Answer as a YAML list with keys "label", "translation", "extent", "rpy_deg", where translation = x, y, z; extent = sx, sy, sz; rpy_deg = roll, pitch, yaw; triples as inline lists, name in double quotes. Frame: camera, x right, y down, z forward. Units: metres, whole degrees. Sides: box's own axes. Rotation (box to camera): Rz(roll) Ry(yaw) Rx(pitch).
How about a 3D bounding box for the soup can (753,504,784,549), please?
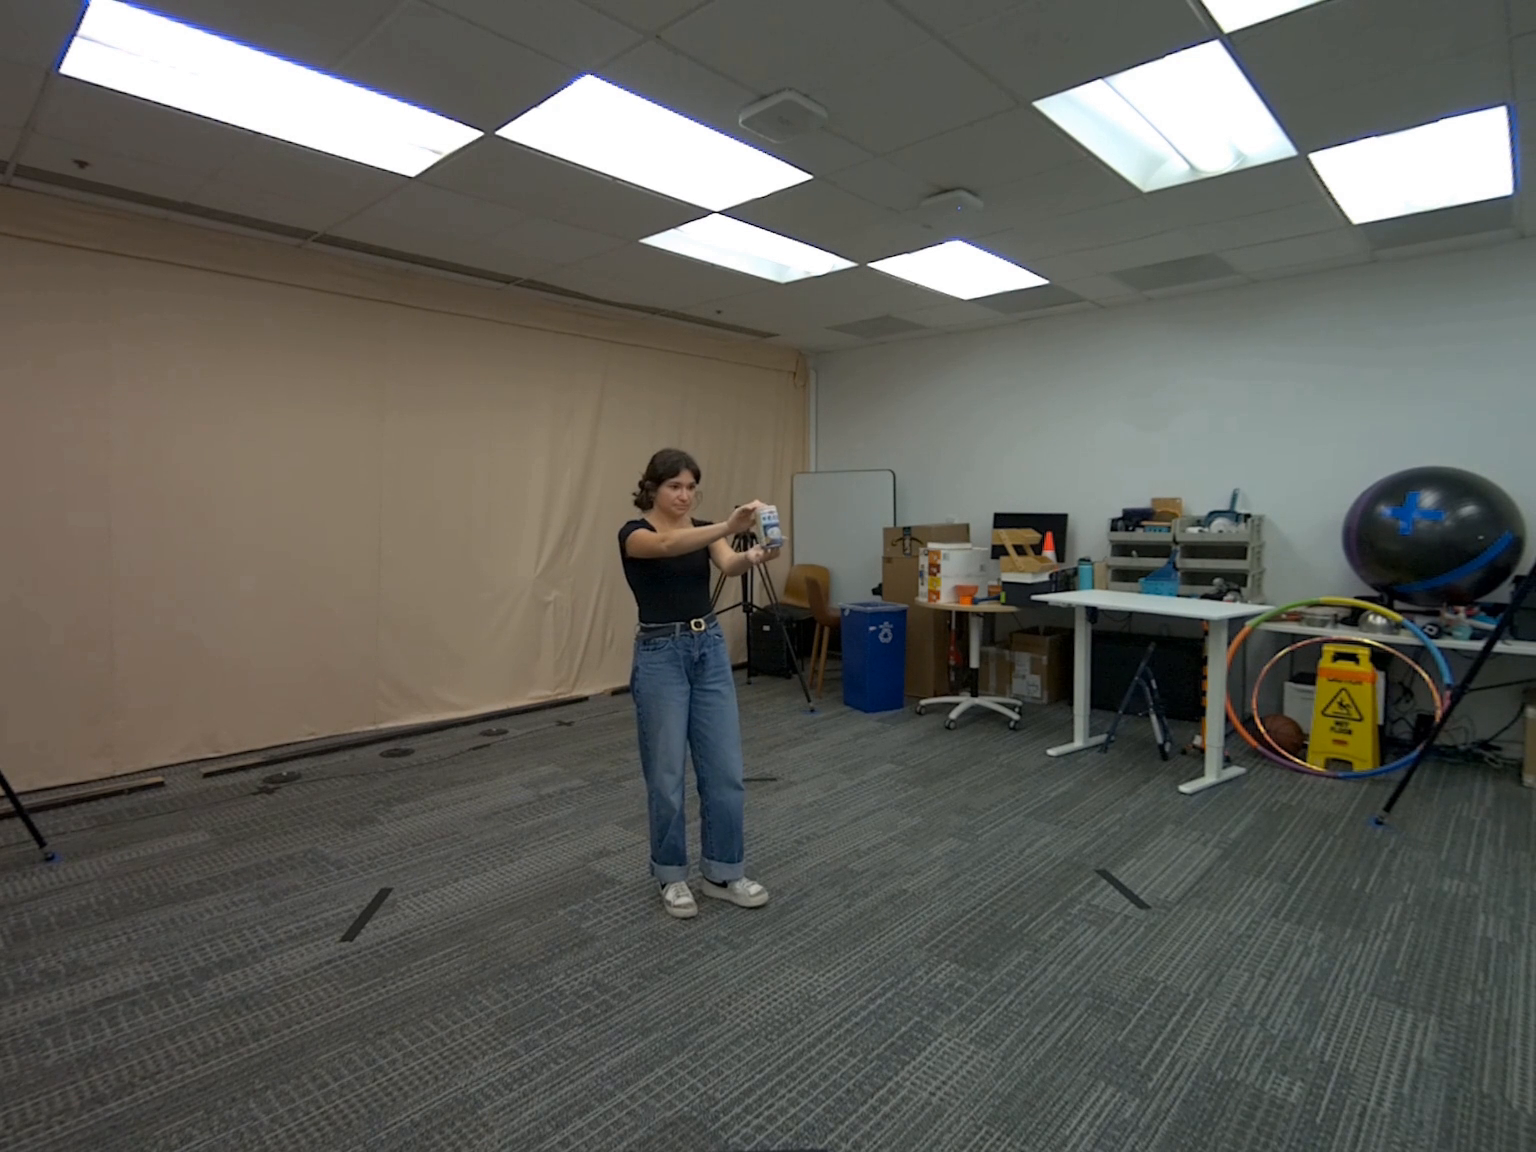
- label: "soup can"
  translation: [0.001, -0.142, 2.449]
  extent: [0.067, 0.122, 0.067]
  rpy_deg: [-7, -3, -2]
